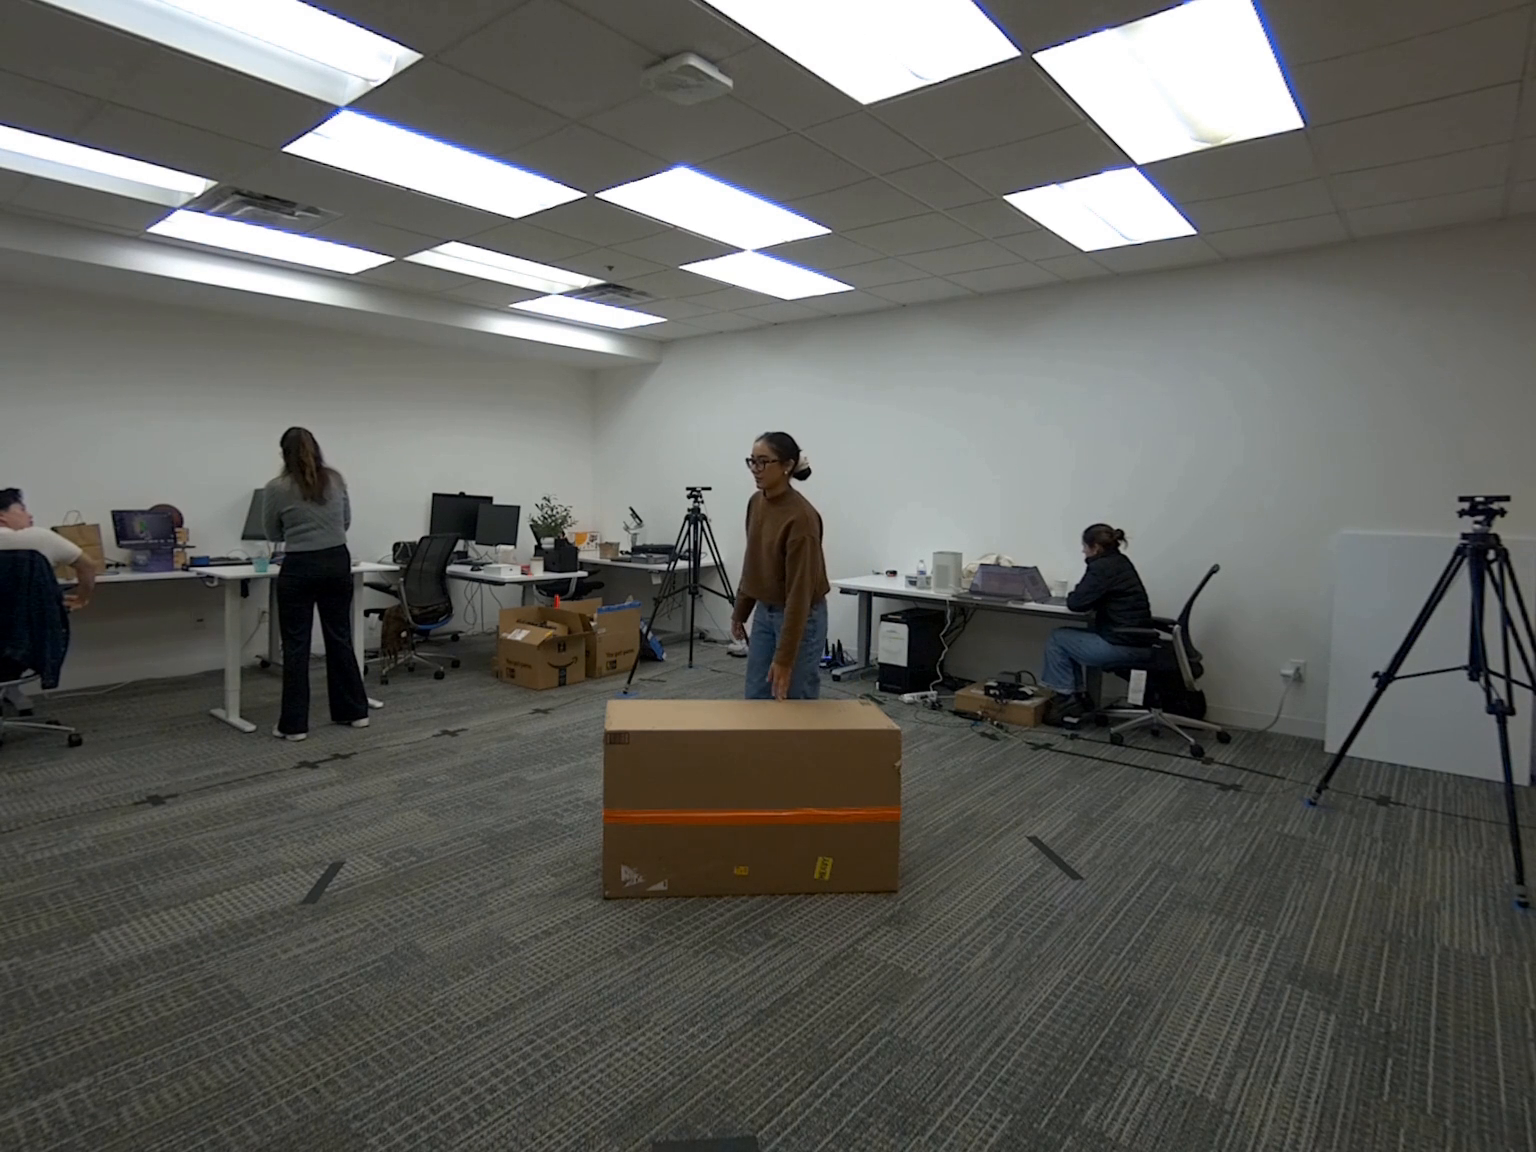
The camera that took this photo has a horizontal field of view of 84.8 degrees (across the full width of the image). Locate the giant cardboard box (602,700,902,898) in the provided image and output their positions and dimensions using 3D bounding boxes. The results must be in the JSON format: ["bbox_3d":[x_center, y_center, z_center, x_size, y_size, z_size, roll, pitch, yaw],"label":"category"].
[{"bbox_3d":[-0.087,0.782,3.093,1.021,0.583,0.450,0,2,-5],"label":"giant cardboard box"}]
